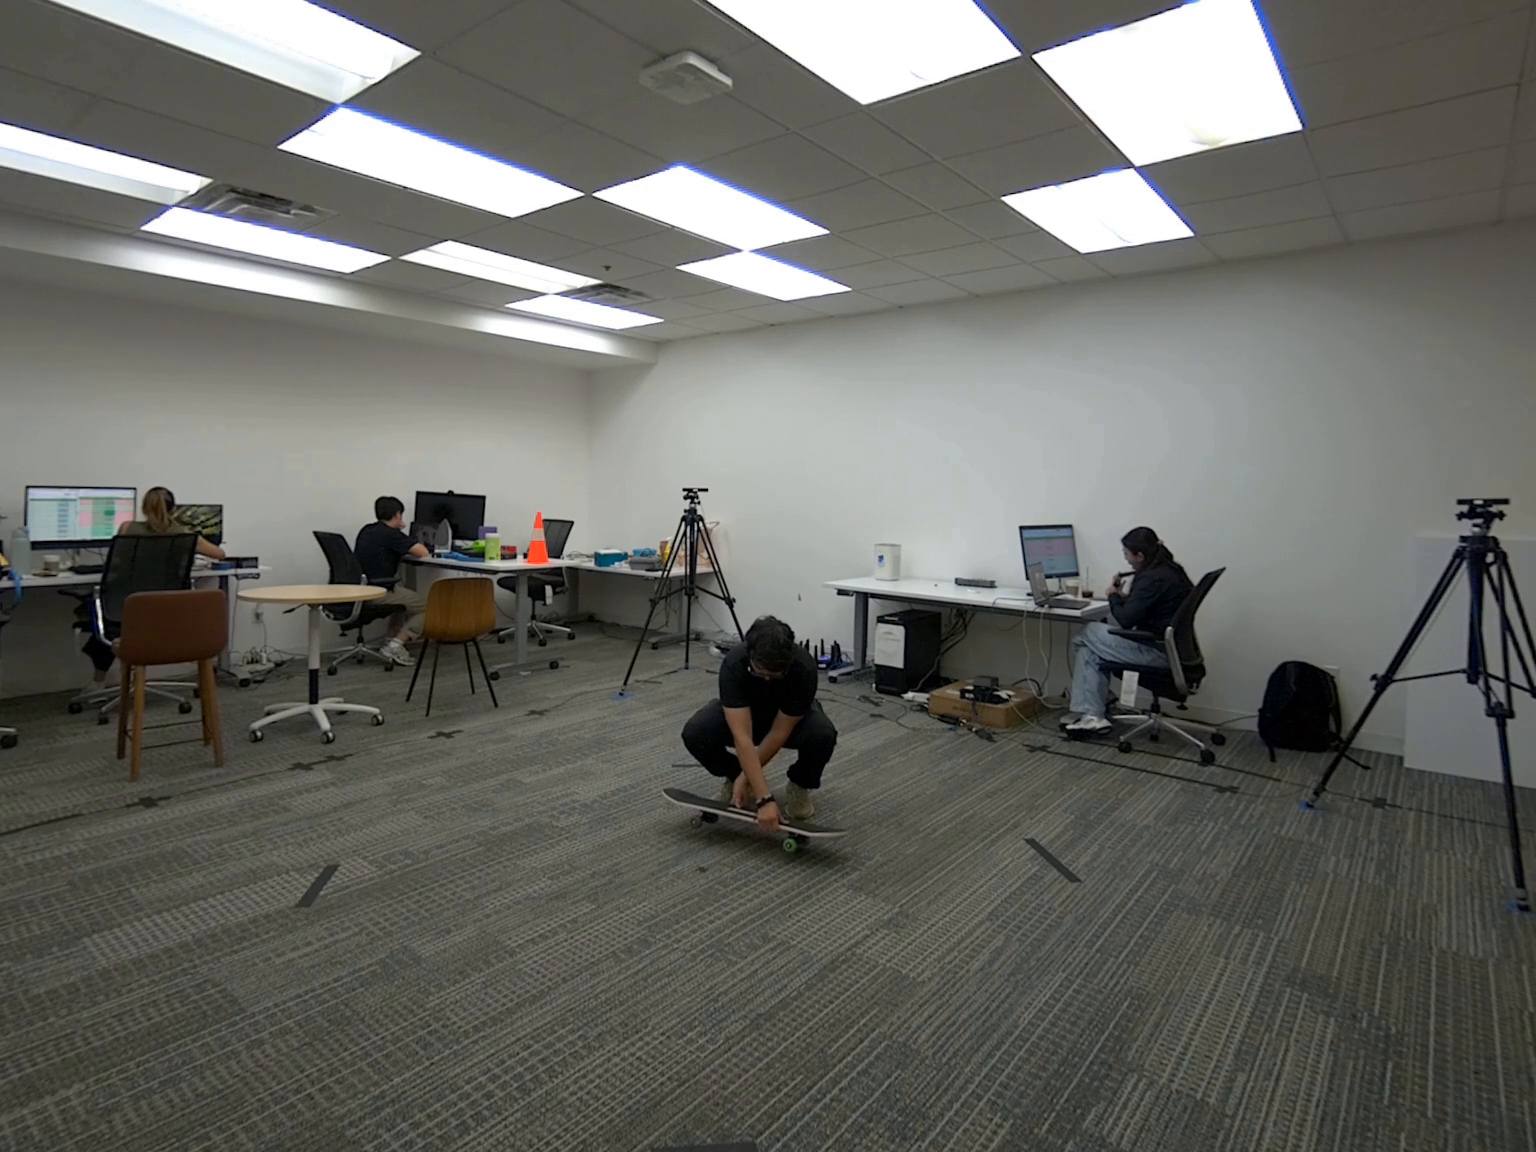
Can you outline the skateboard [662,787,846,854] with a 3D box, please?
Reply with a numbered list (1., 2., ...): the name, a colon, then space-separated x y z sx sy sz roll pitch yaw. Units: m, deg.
1. skateboard: -0.083 0.965 3.341 0.806 0.111 0.187 6 -7 25
